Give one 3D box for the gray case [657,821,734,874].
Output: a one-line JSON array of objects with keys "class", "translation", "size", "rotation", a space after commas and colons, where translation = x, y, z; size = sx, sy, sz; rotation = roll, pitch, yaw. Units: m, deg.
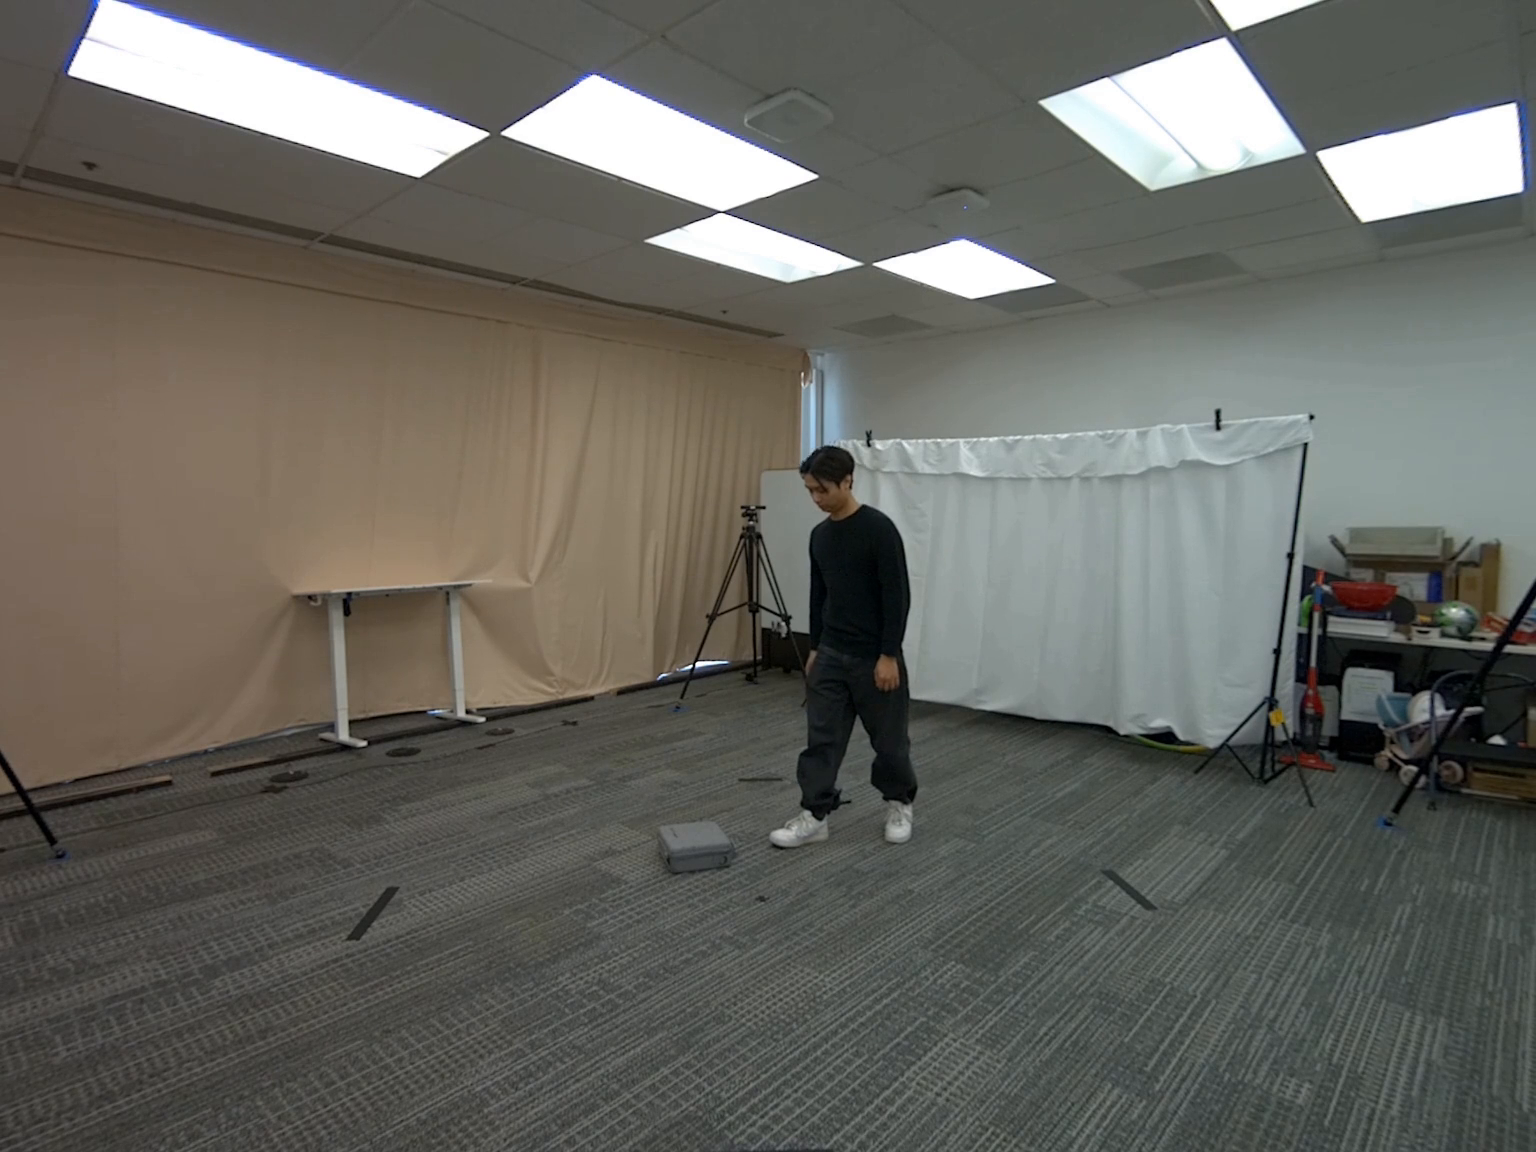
[{"class": "gray case", "translation": [-0.288, 1.059, 3.322], "size": [0.256, 0.104, 0.262], "rotation": [-1, 3, -17]}]
